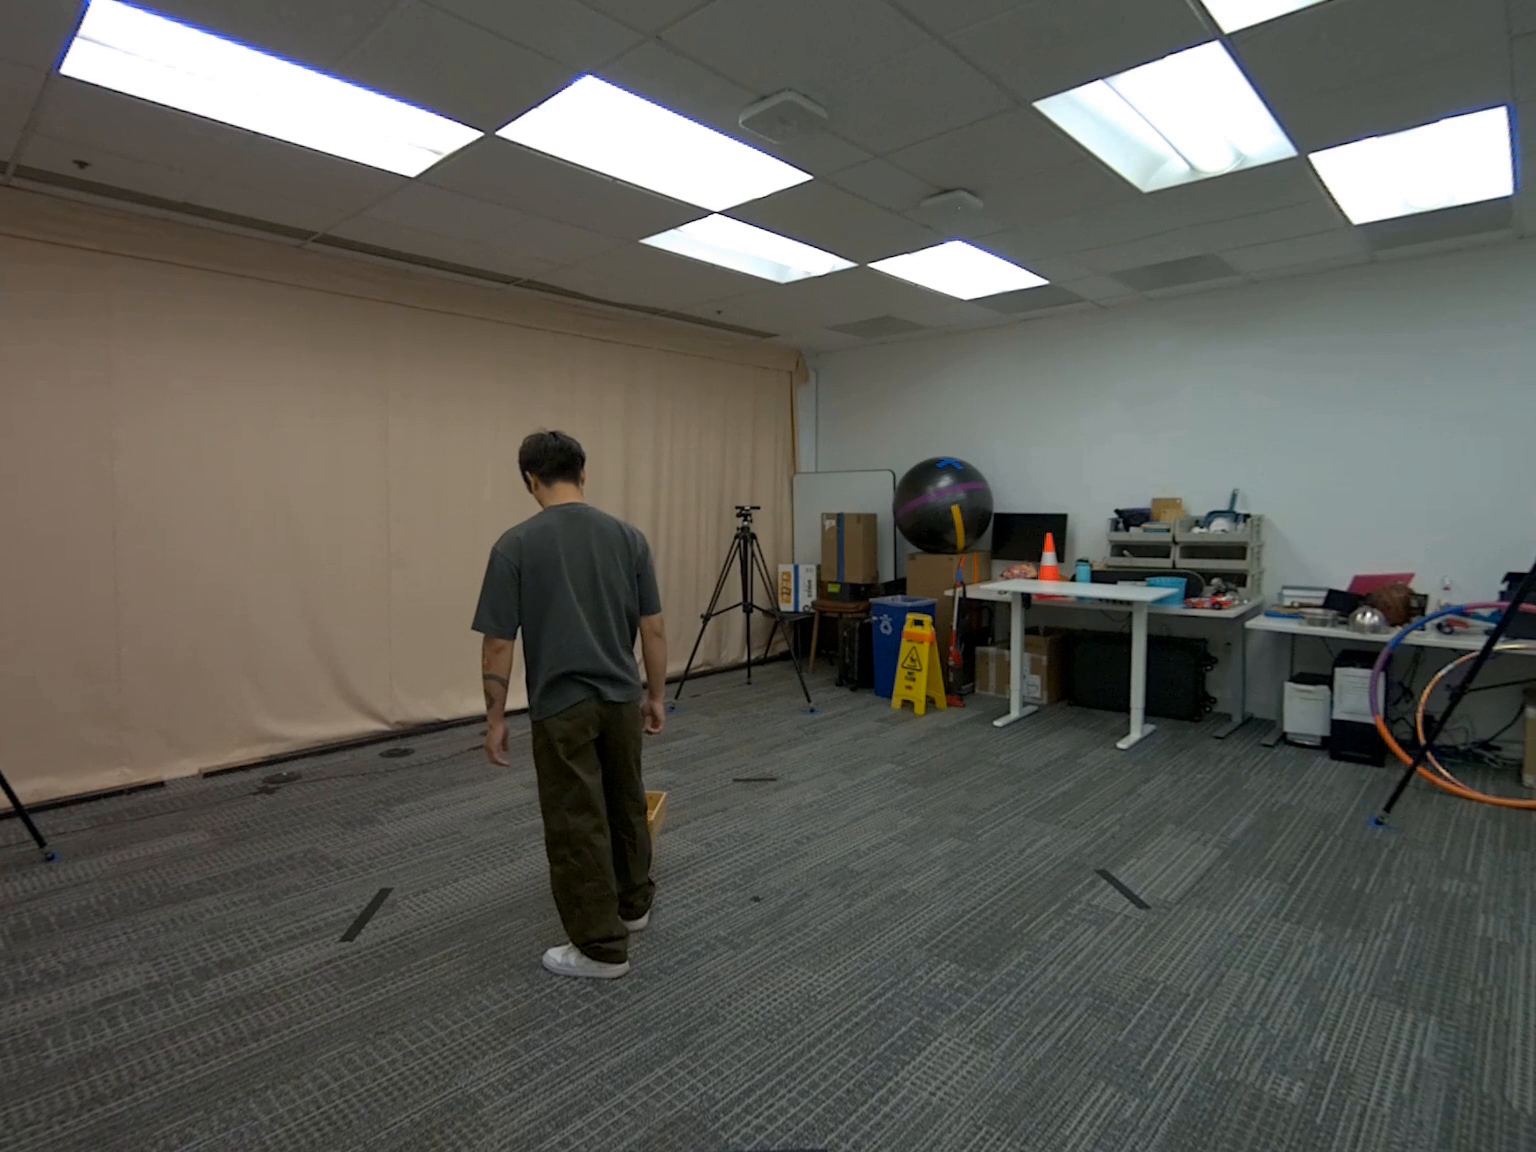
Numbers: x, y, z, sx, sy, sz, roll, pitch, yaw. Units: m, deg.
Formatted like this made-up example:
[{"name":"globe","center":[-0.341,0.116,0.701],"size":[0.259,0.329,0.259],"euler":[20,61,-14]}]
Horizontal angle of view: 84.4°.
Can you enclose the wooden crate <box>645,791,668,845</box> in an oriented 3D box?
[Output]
[{"name":"wooden crate","center":[-0.570,0.996,3.215],"size":[0.304,0.273,0.323],"euler":[0,4,5]}]
